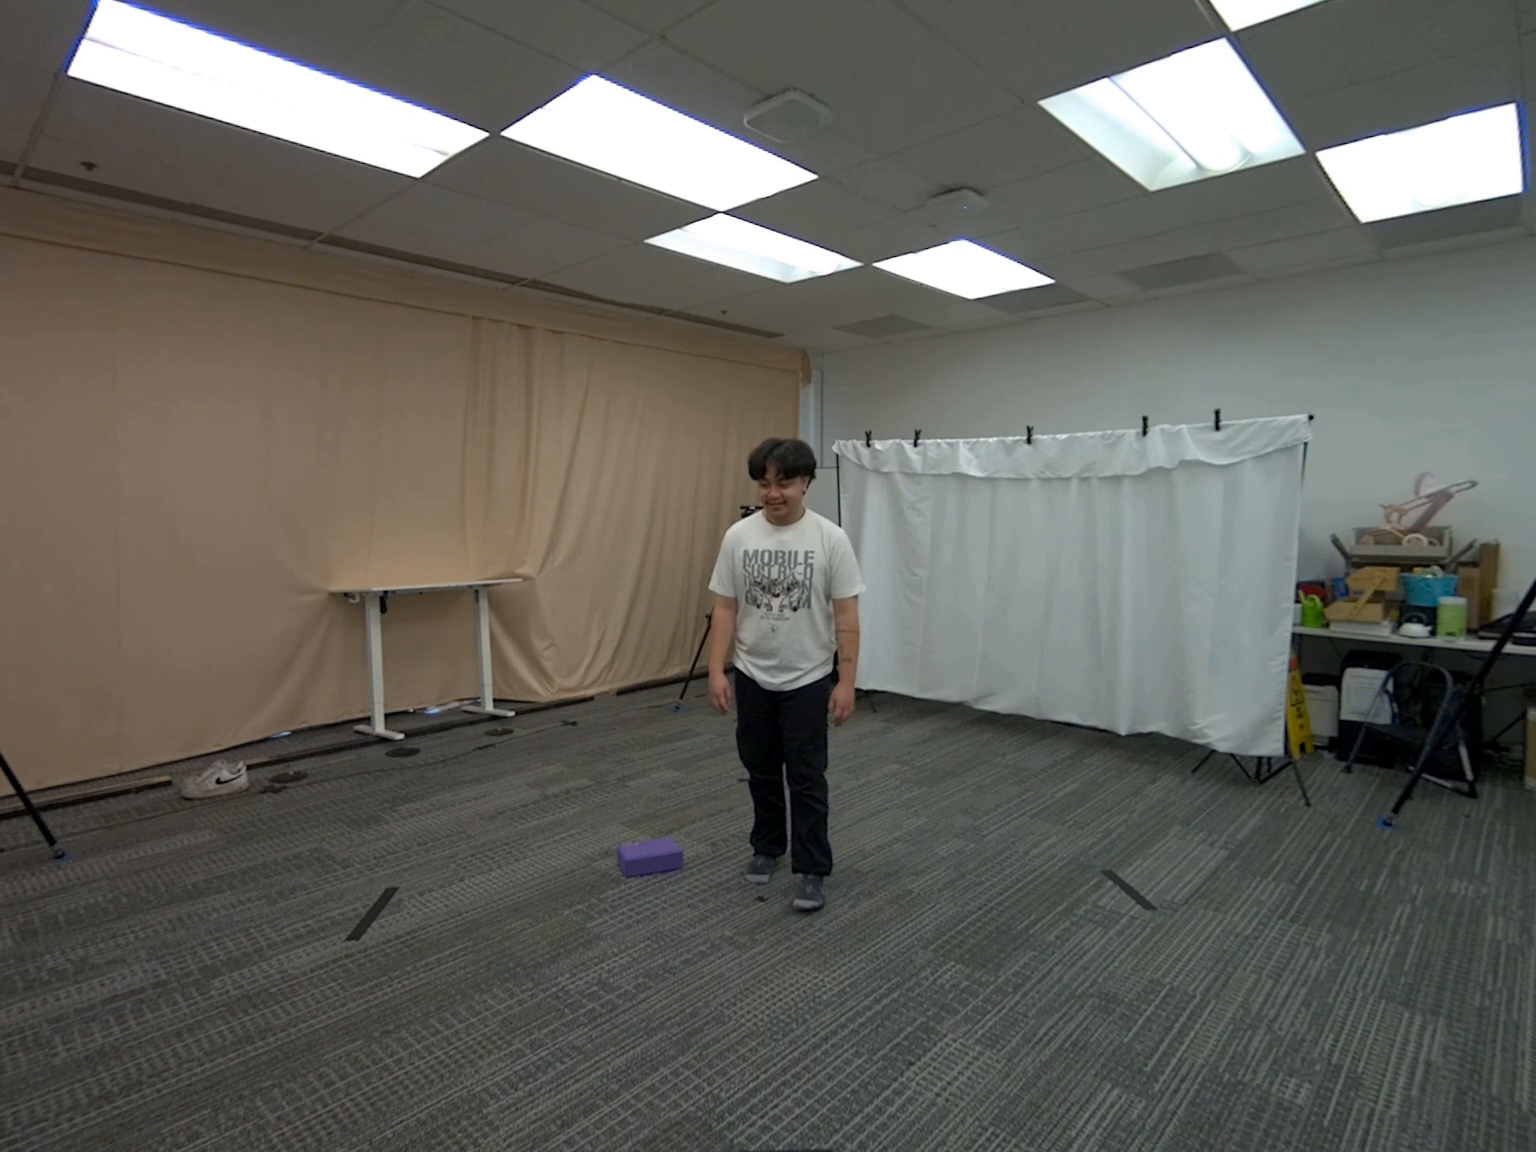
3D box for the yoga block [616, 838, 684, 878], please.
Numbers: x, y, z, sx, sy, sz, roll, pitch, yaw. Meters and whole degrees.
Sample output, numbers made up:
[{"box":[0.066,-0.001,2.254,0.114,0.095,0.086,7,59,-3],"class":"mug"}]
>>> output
[{"box":[-0.460,1.089,3.260,0.225,0.076,0.152,-3,6,-20],"class":"yoga block"}]
